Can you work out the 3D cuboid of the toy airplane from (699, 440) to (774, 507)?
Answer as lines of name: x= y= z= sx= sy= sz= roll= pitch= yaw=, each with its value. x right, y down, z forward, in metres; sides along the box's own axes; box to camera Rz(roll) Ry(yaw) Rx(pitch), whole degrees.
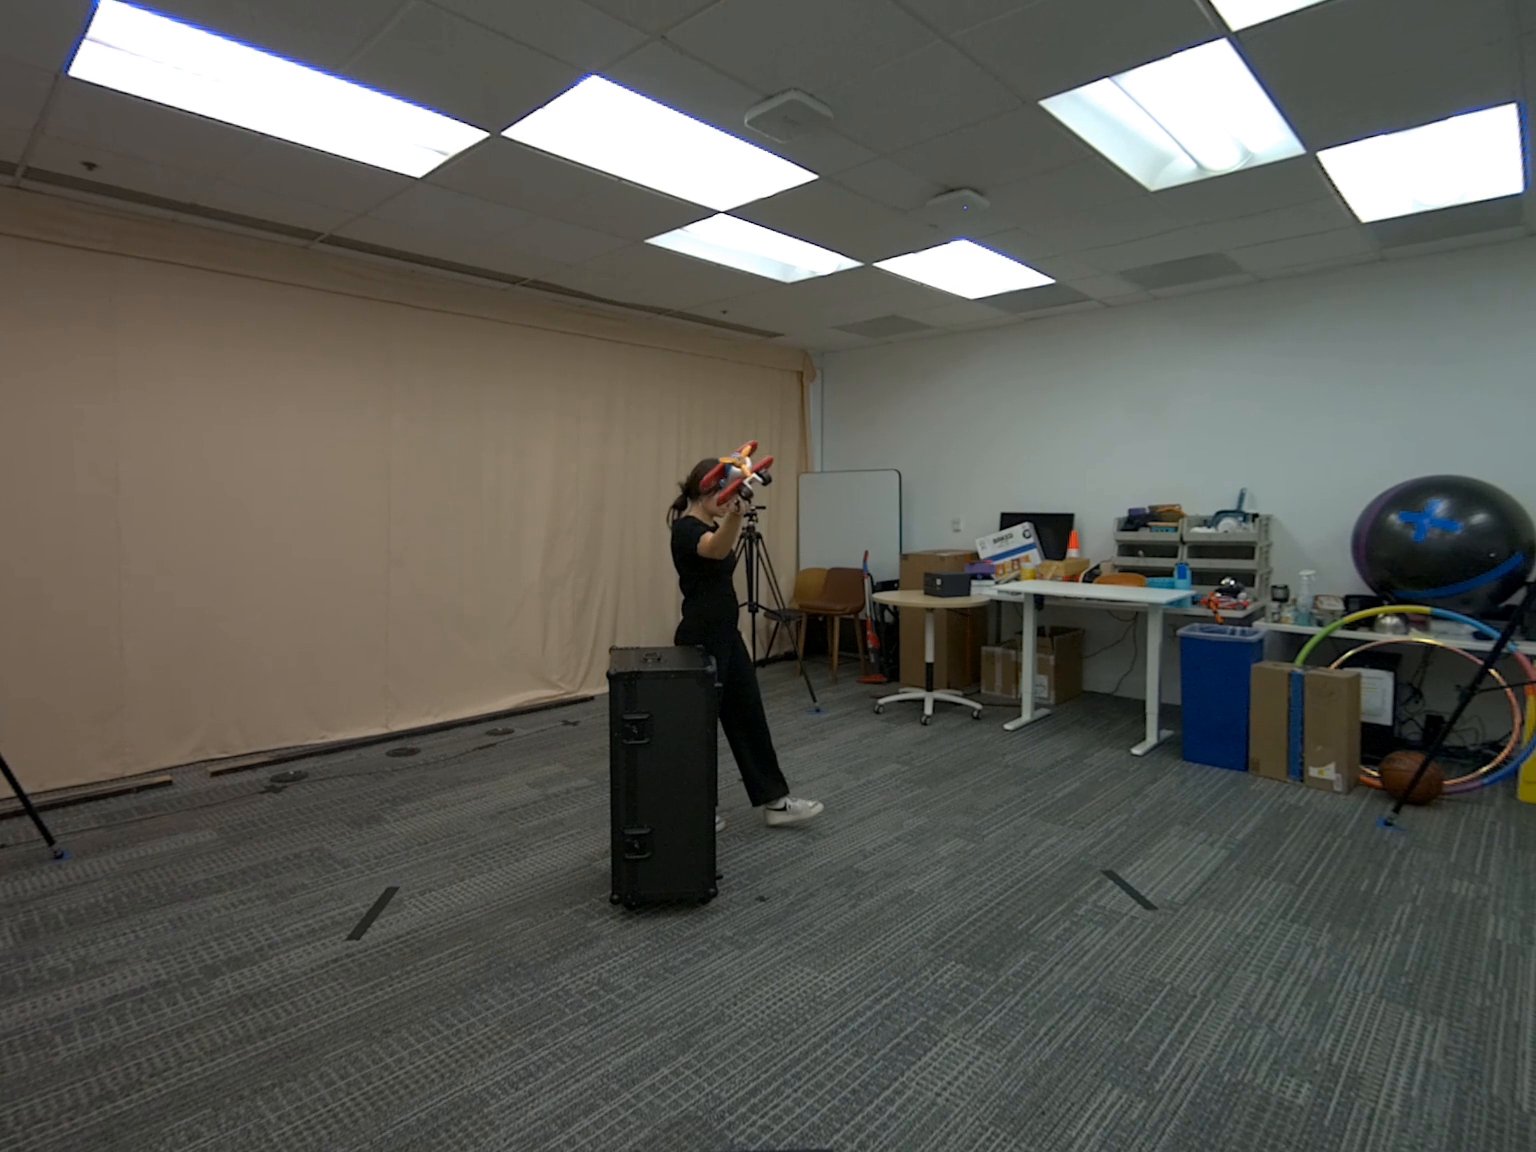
toy airplane: x=-0.106 y=-0.307 z=2.817 sx=0.262 sy=0.156 sz=0.248 roll=-38 pitch=1 yaw=42
